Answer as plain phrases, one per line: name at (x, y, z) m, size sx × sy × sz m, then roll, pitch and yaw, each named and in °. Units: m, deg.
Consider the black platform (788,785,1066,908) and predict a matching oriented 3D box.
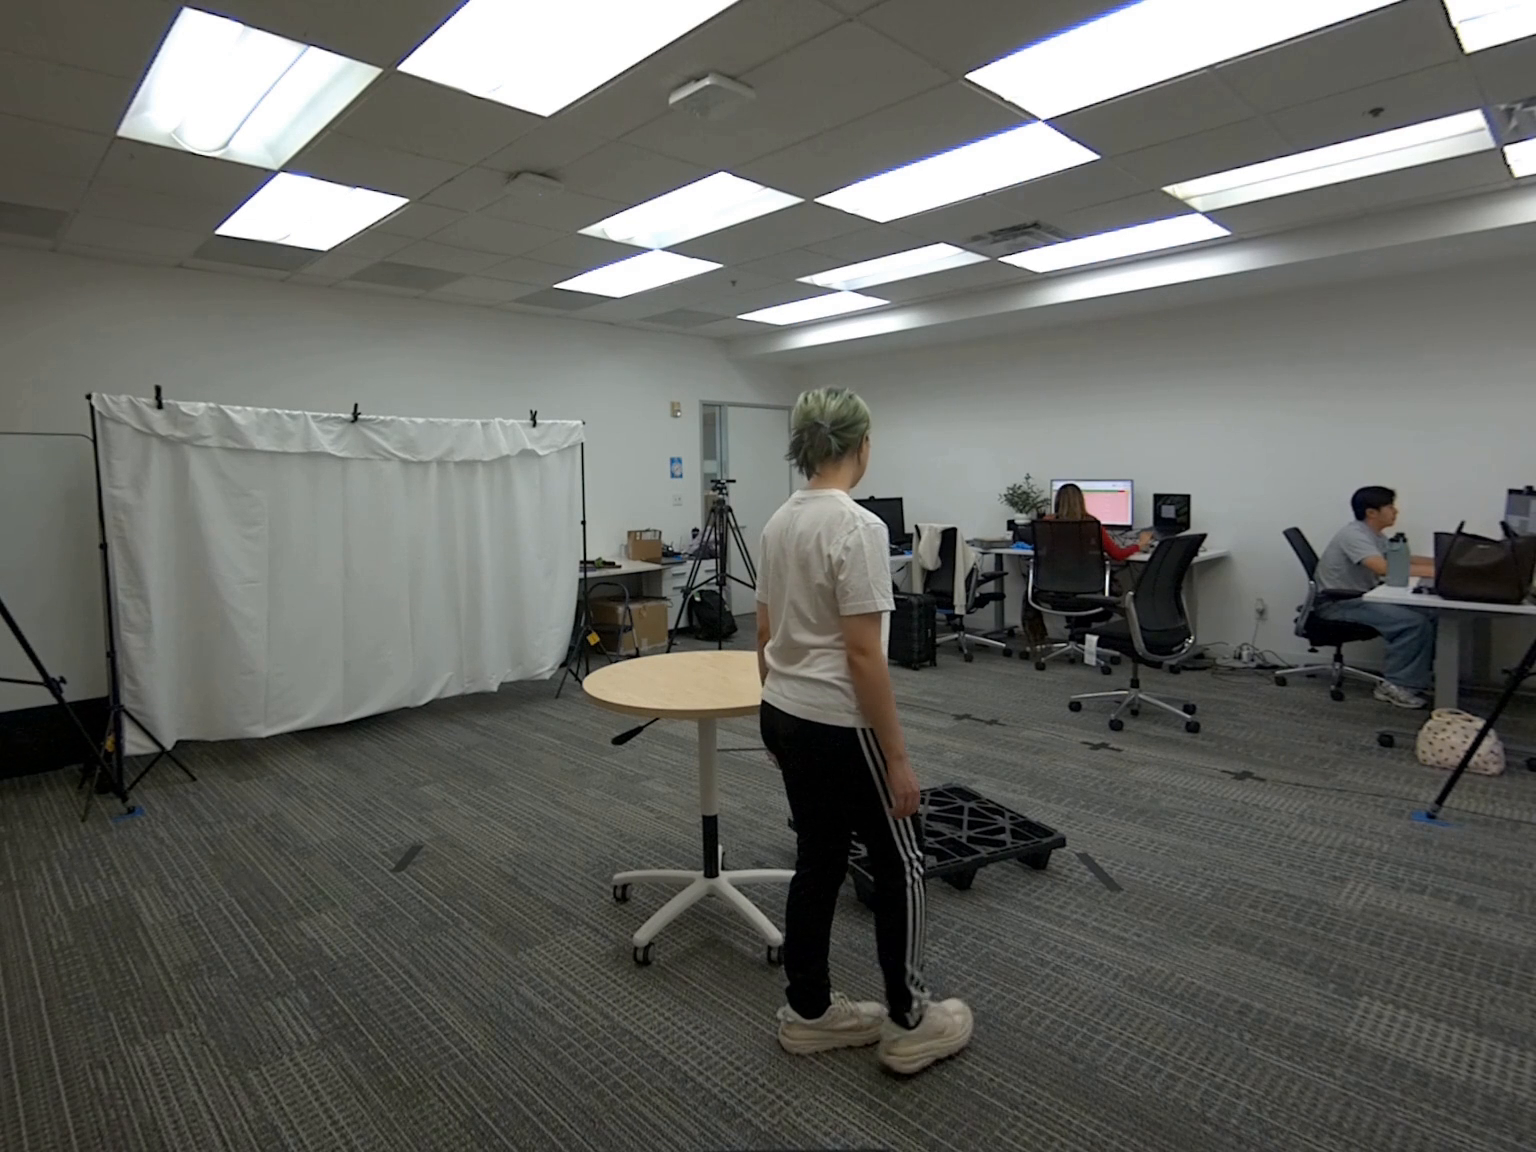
black platform at (0.566, 0.970, 3.096) m, size 0.789 × 0.142 × 0.621 m, roll -4°, pitch 8°, yaw -25°
